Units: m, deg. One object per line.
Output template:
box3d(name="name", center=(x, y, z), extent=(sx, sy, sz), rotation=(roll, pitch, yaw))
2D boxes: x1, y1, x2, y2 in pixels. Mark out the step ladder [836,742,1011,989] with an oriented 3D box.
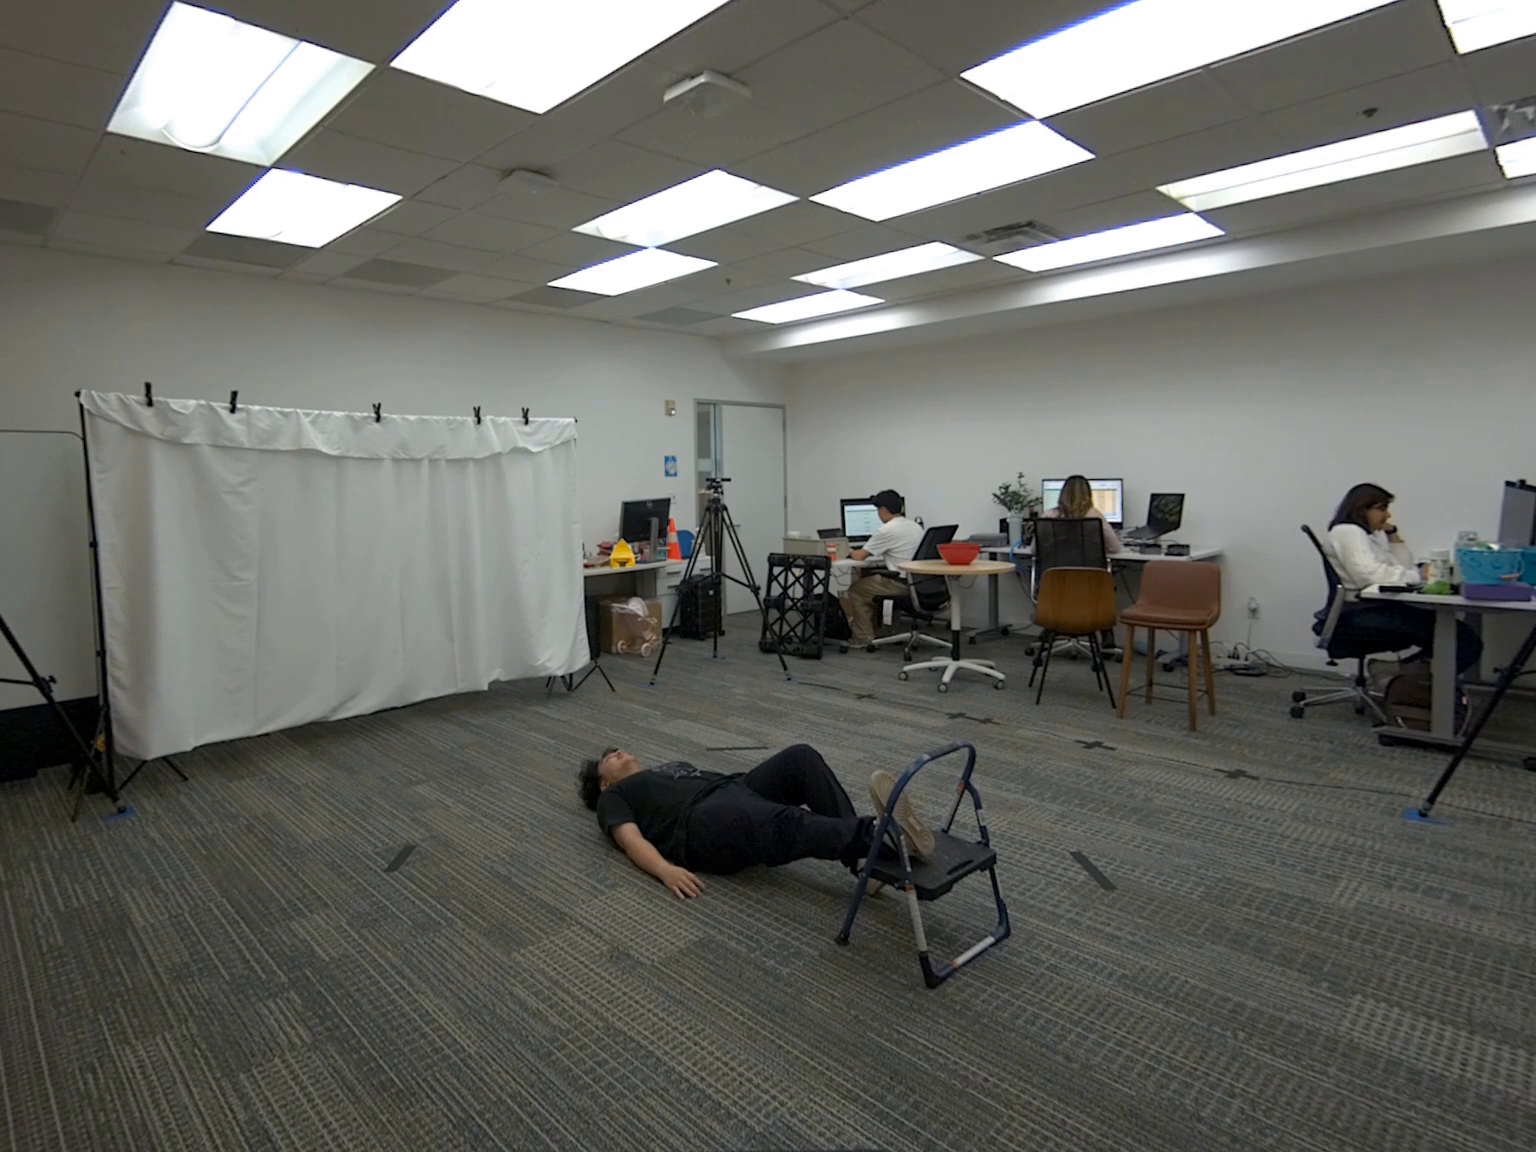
box3d(name="step ladder", center=(0.475, 0.798, 2.556), extent=(0.419, 0.604, 0.360), rotation=(-6, 6, -44))
